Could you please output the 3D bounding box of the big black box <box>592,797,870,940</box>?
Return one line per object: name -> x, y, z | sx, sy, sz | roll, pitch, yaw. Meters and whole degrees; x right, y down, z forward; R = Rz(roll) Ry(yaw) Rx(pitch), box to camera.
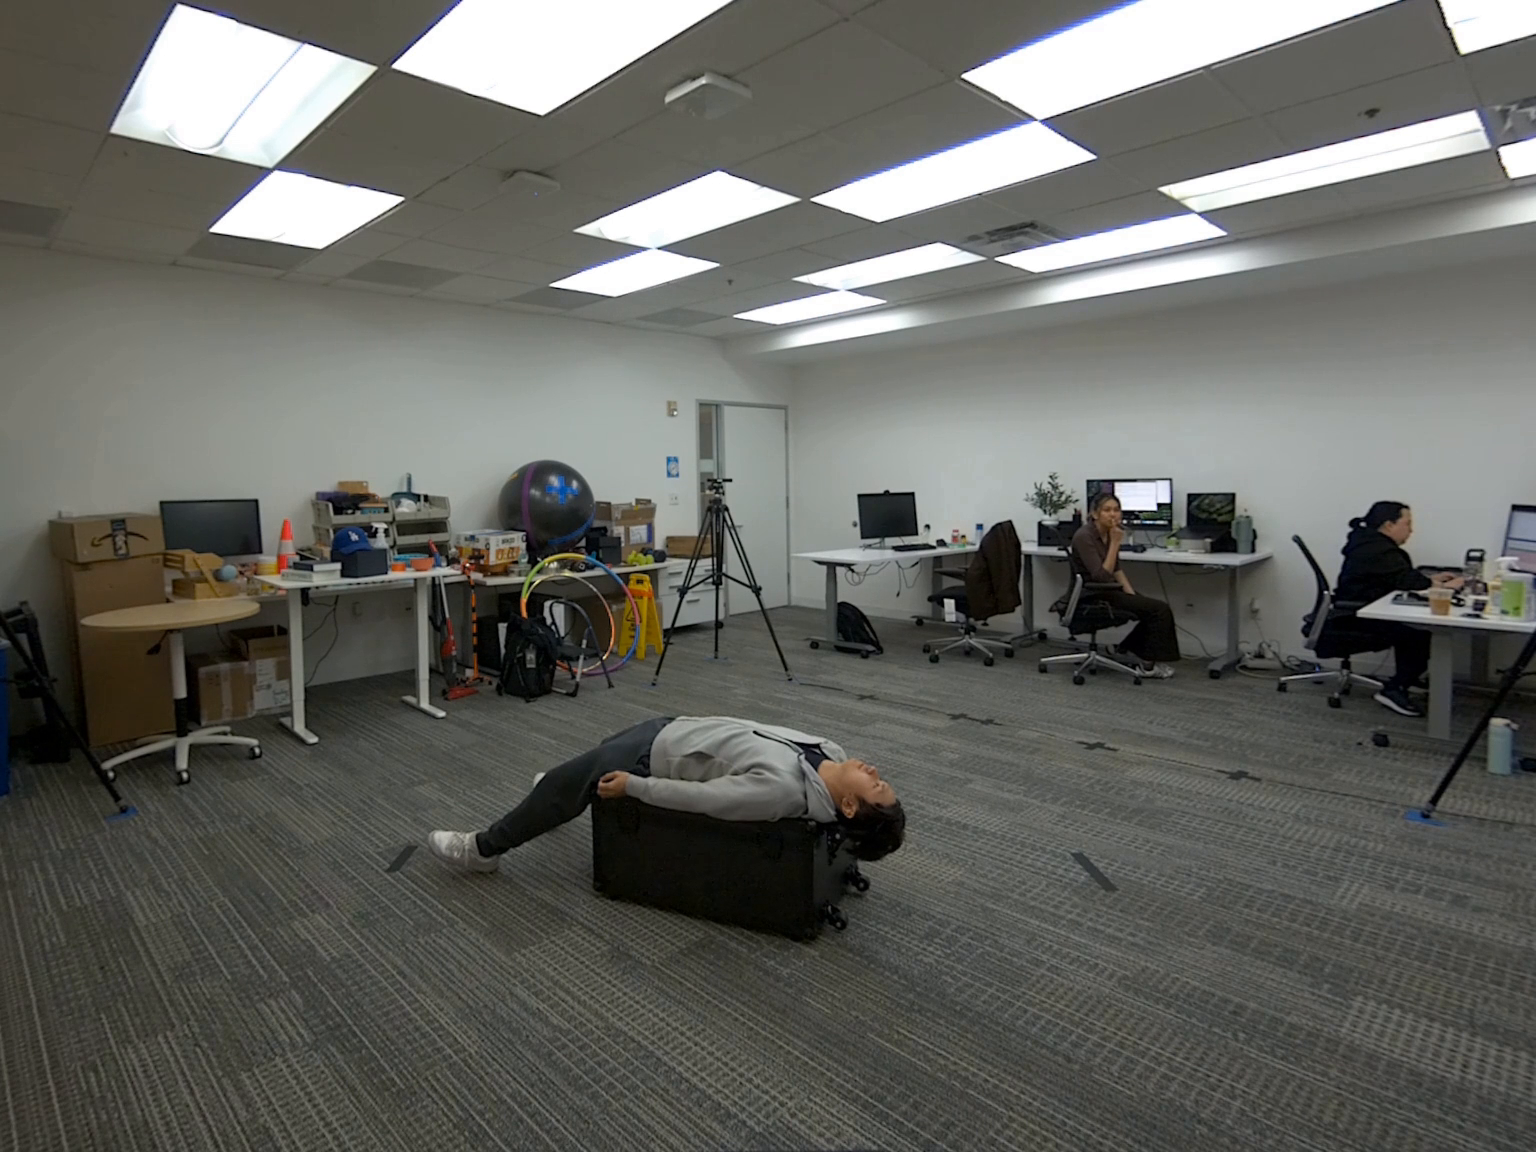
big black box -> -0.163, 0.881, 2.934 | 0.881, 0.394, 0.512 | 2, 6, 24
